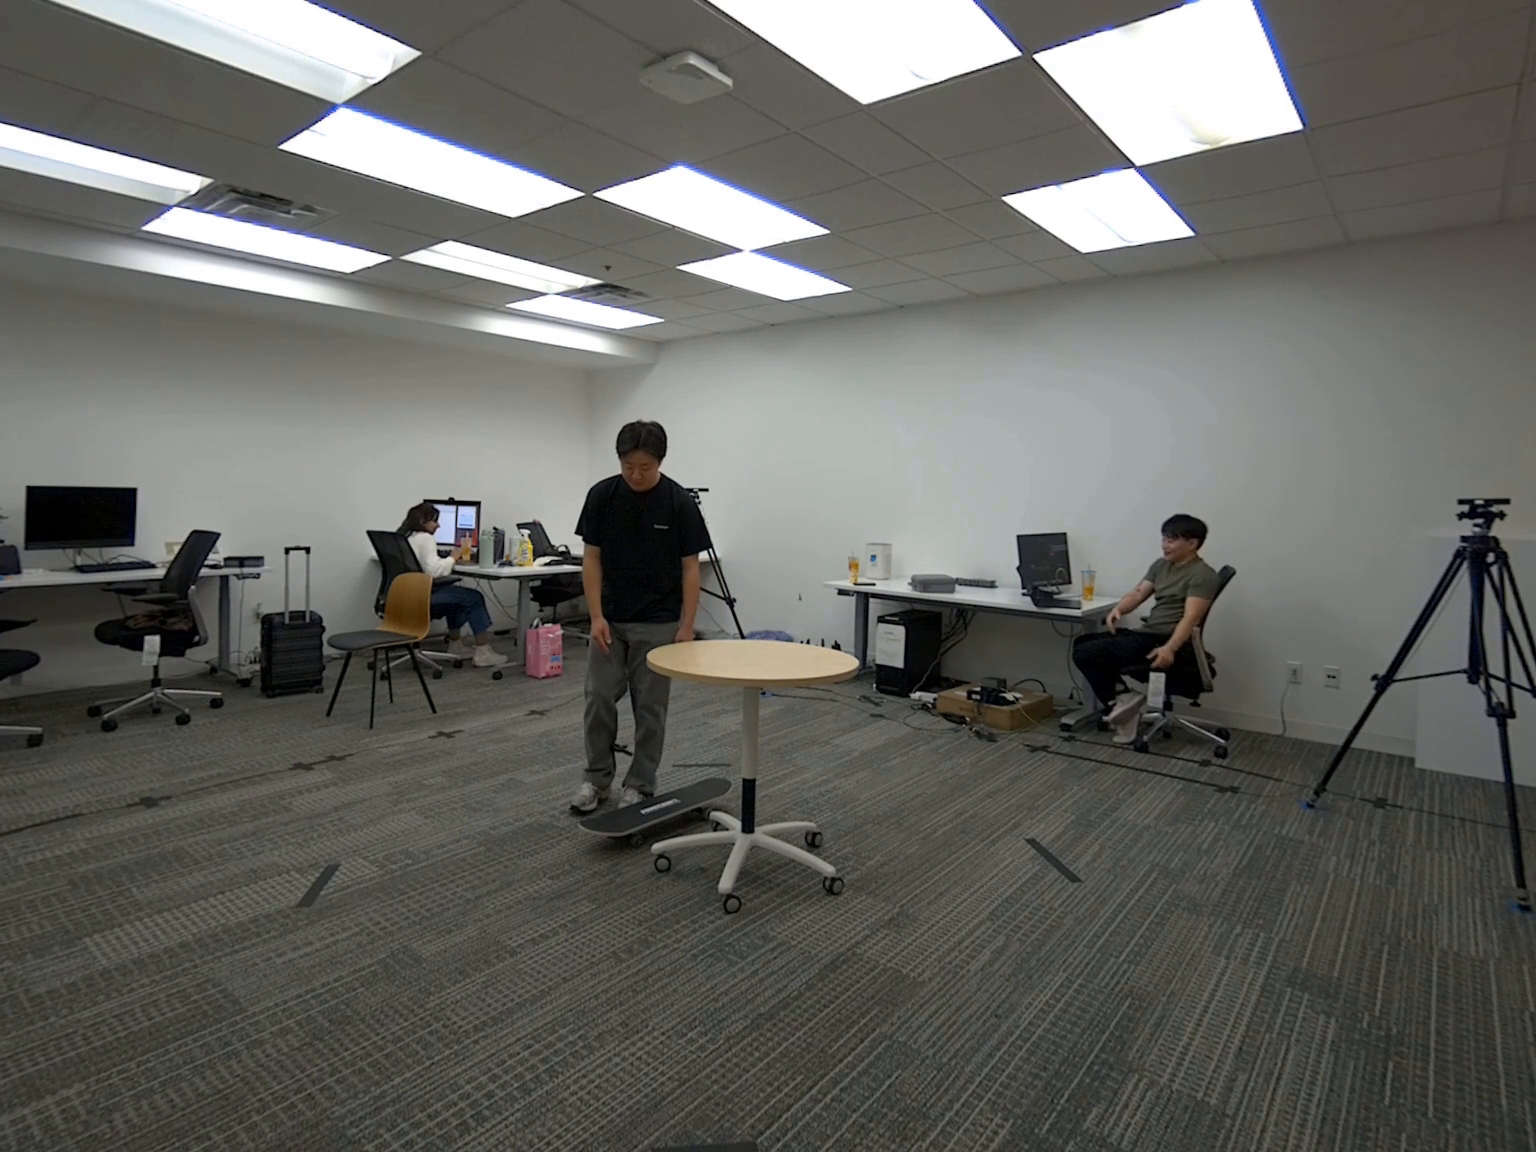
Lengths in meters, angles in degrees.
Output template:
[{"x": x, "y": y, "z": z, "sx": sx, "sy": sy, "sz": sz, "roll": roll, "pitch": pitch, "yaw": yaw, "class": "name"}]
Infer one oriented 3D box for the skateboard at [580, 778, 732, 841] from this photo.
[{"x": -0.446, "y": 0.977, "z": 3.488, "sx": 0.200, "sy": 0.110, "sz": 0.762, "roll": 7, "pitch": 8, "yaw": 41, "class": "skateboard"}]
